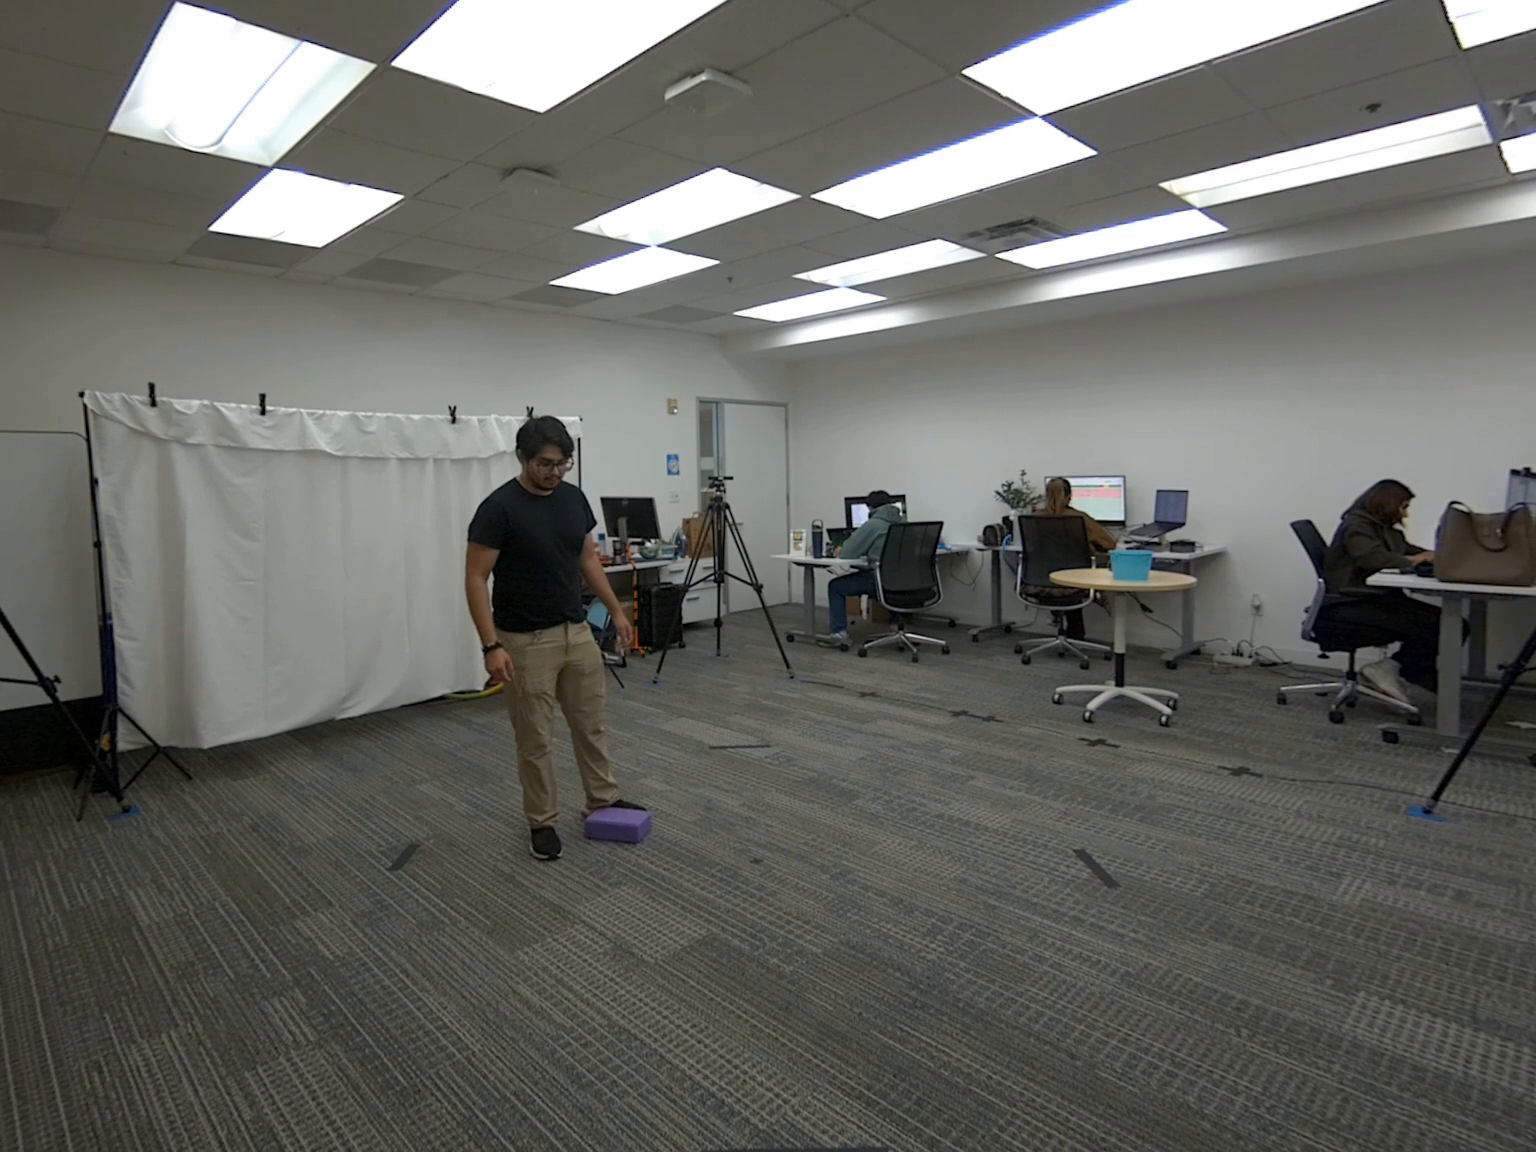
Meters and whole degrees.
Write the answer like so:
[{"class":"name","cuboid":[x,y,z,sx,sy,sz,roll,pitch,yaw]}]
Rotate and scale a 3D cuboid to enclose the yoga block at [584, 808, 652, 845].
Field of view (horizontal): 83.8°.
[{"class":"yoga block","cuboid":[-0.592,0.978,3.367,0.233,0.076,0.147,0,4,17]}]
